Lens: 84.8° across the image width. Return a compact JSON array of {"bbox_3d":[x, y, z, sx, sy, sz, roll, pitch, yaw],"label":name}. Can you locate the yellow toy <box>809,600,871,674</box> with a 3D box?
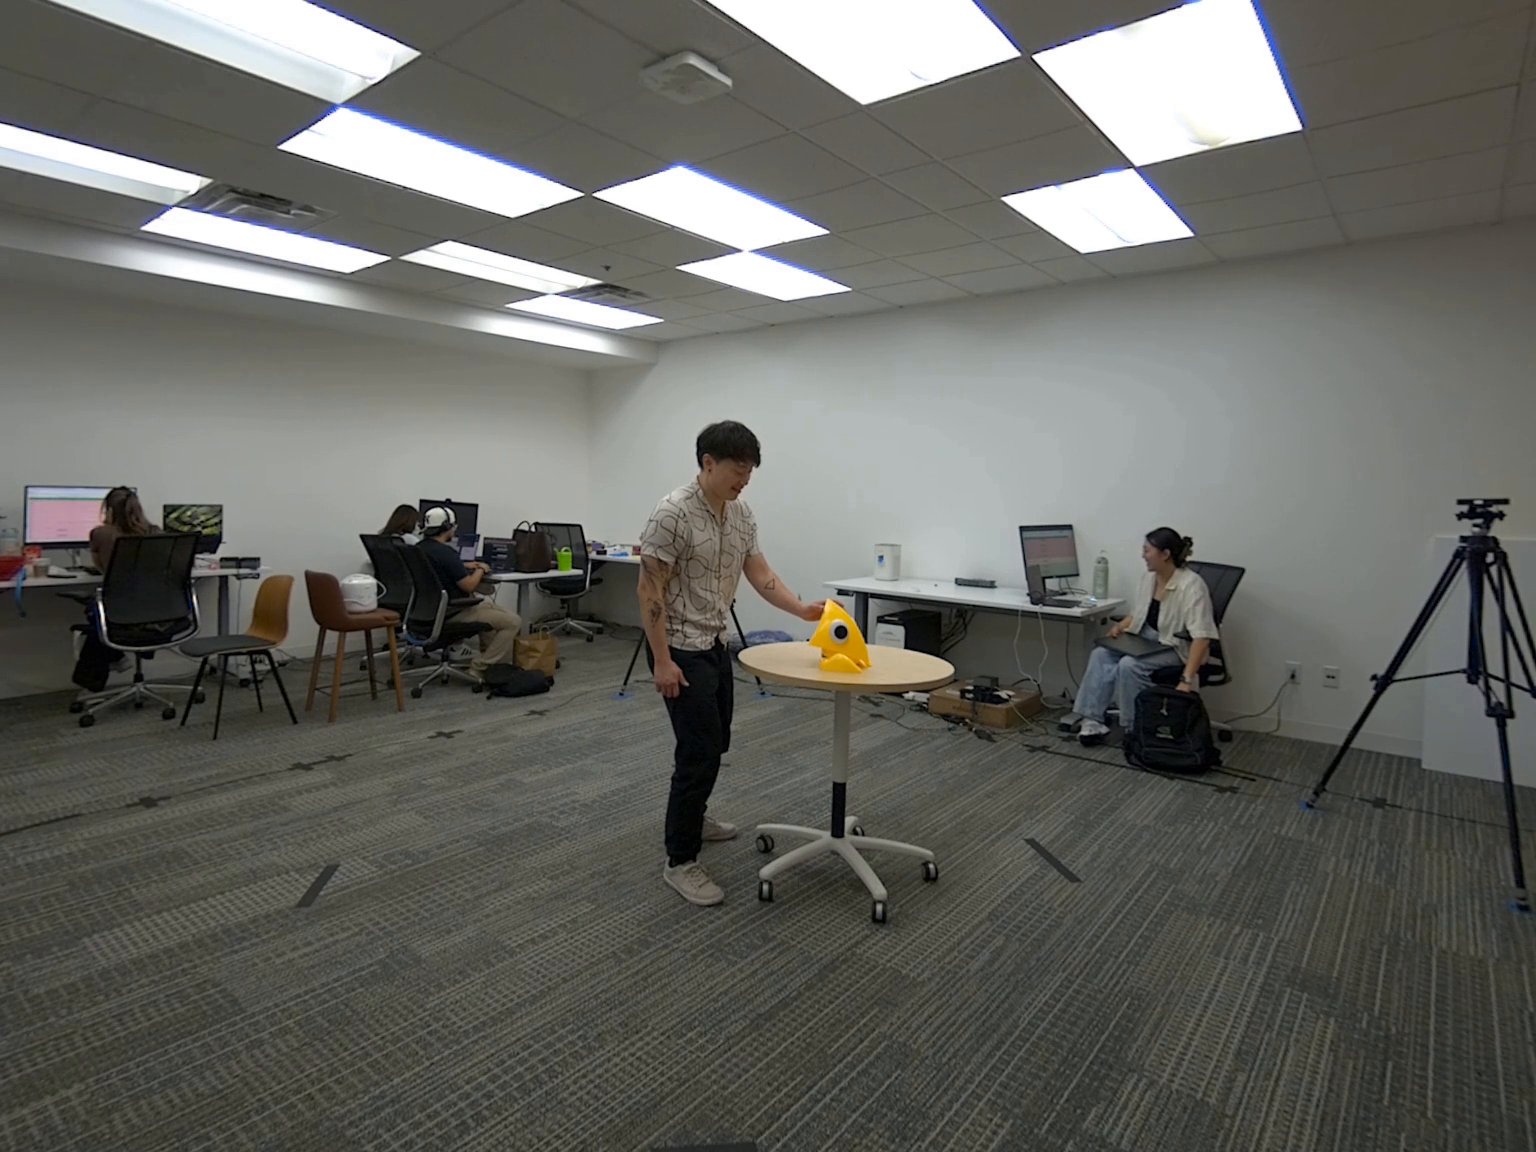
[{"bbox_3d":[0.251,0.201,2.942,0.198,0.230,0.200,4,5,25],"label":"yellow toy"}]
